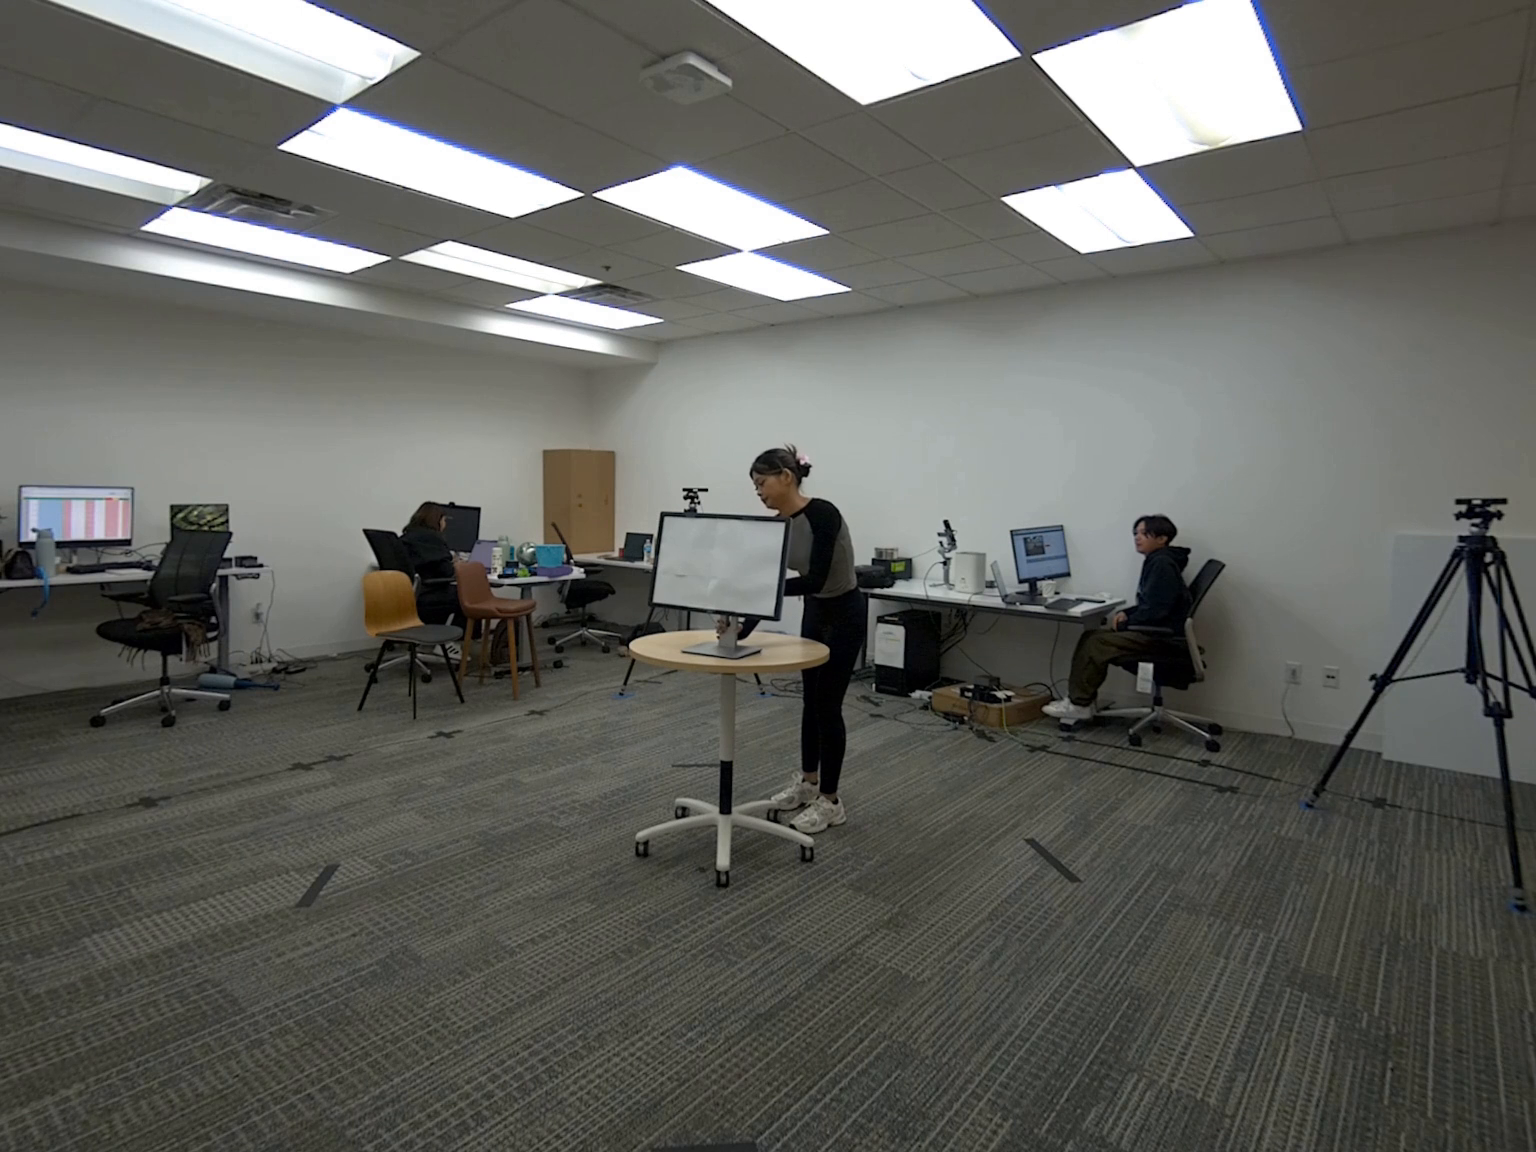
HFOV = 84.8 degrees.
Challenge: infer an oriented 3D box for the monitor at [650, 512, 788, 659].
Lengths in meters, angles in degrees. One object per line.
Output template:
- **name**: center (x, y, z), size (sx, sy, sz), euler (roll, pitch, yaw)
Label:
- **monitor**: center (-0.171, 0.033, 3.123), size (0.555, 0.519, 0.182), euler (4, 7, 31)
